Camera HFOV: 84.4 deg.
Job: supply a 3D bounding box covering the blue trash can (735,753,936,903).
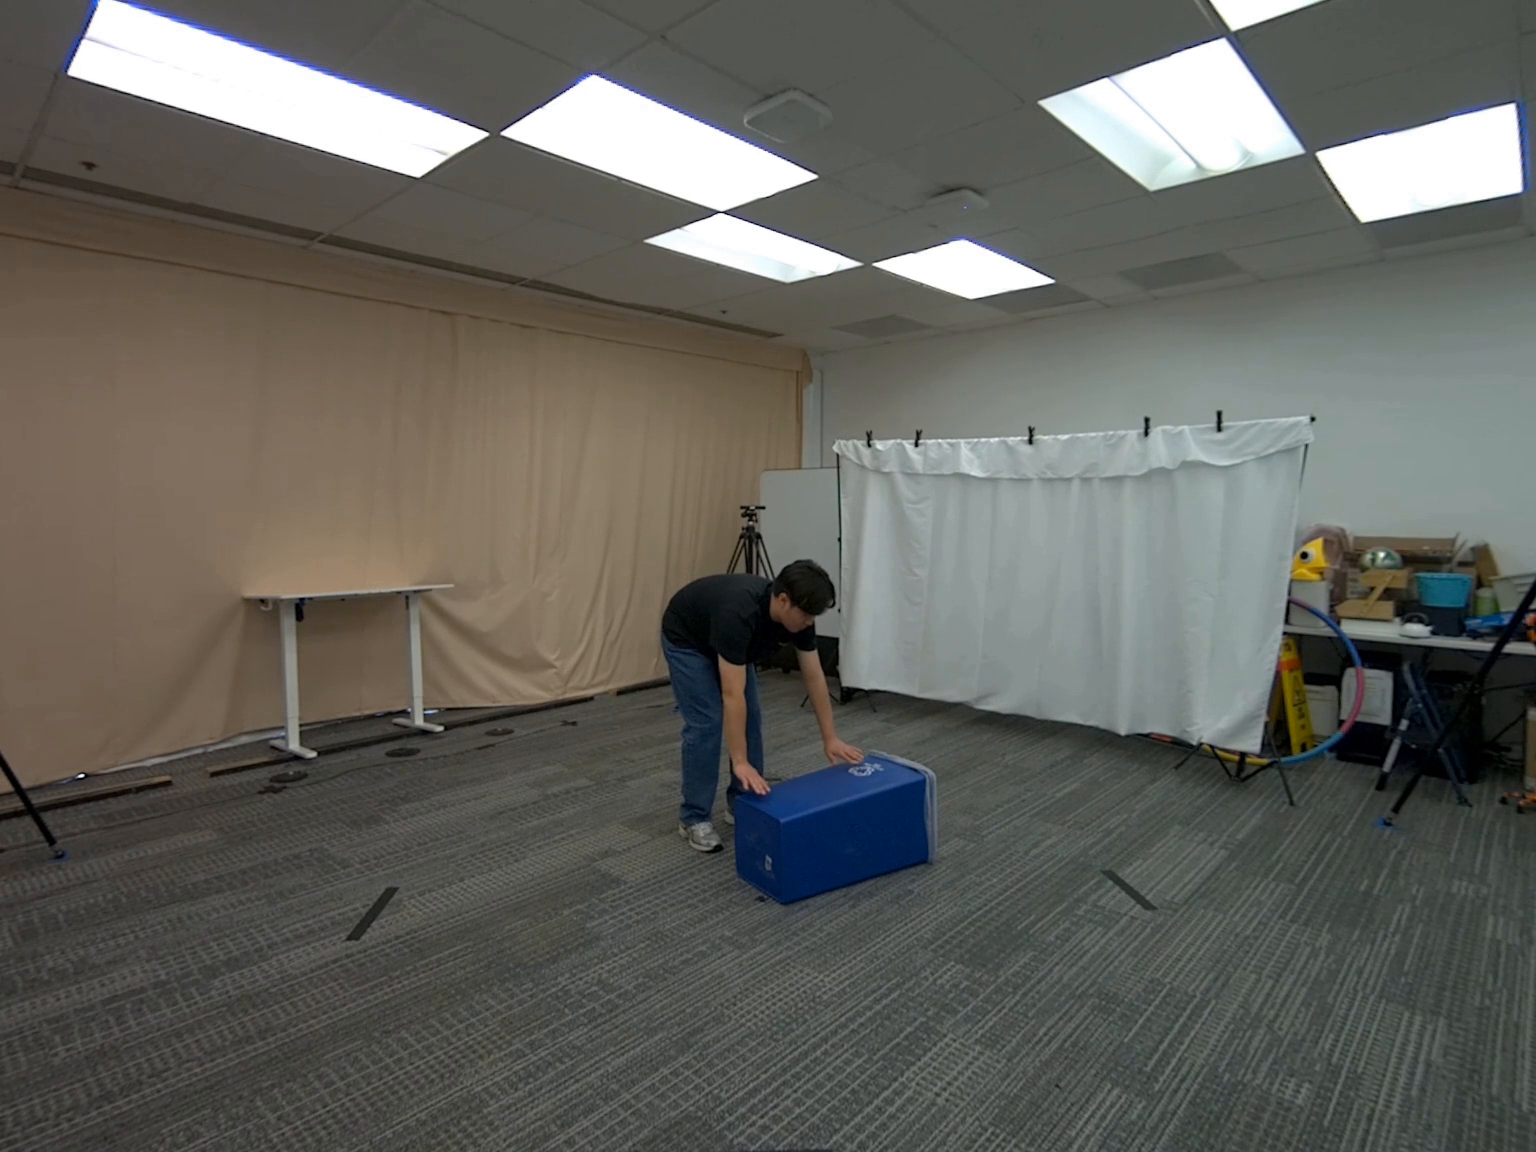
[{"bbox_3d":[0.264,0.957,3.215,0.694,0.376,0.386,-7,7,-34],"label":"blue trash can"}]
